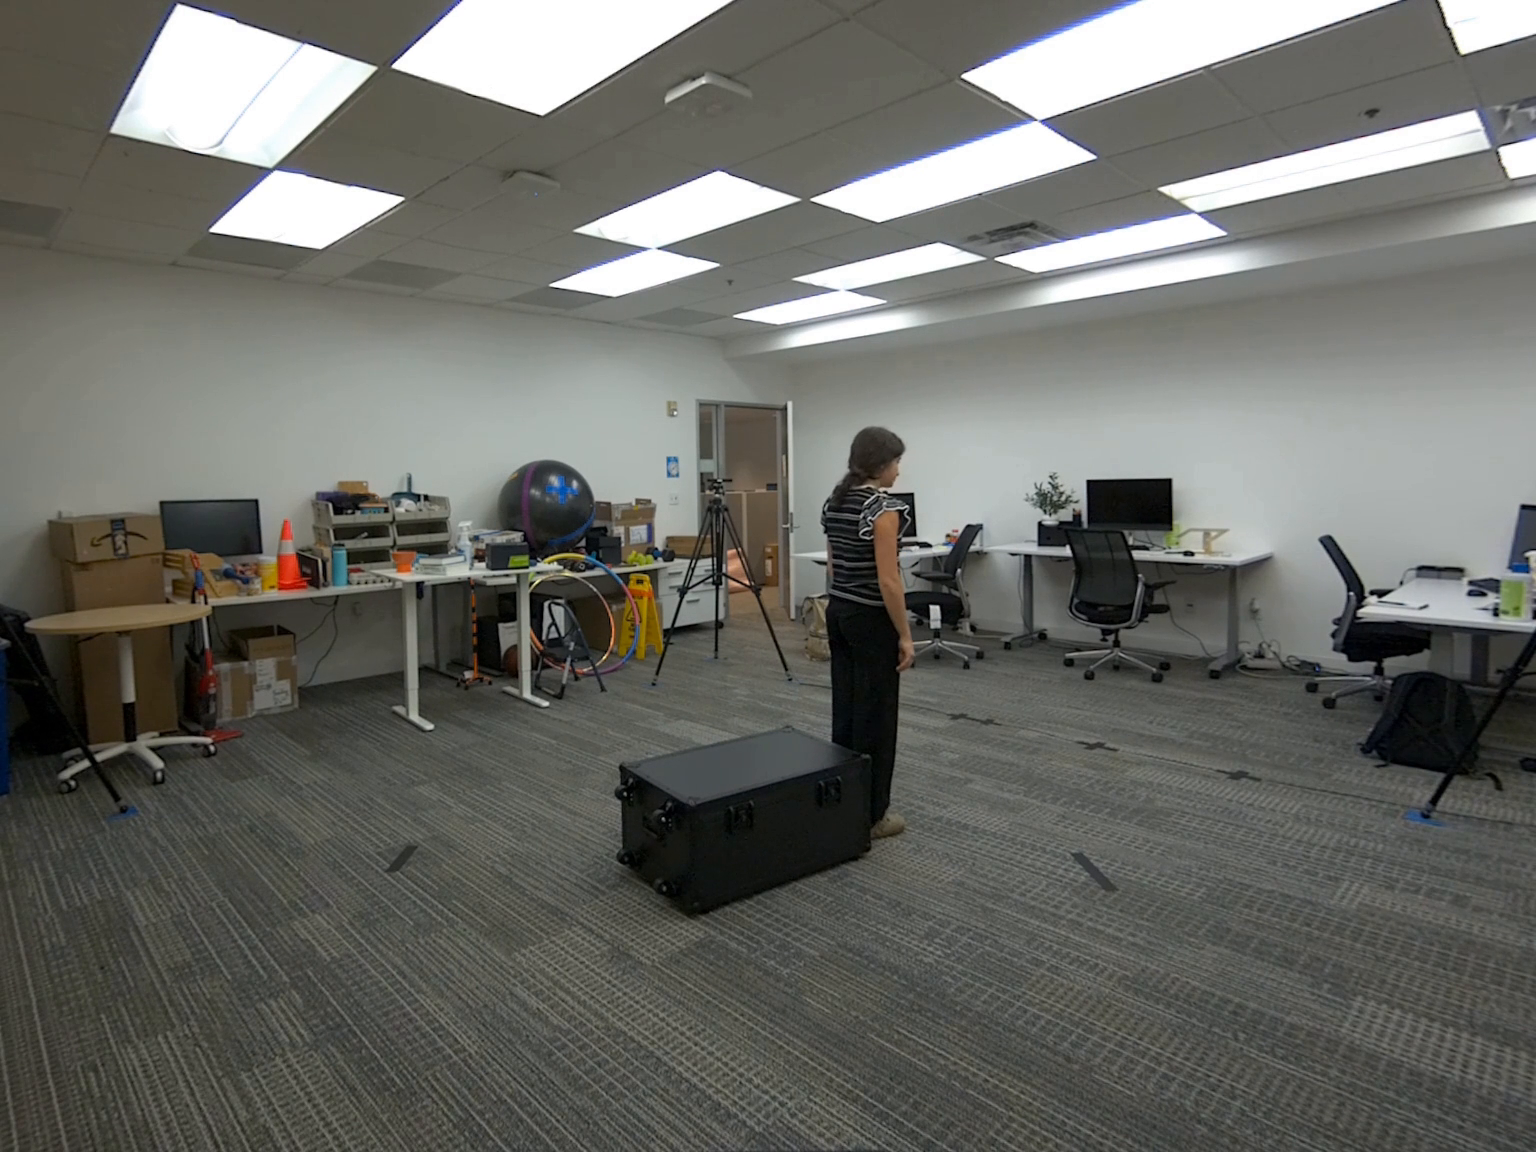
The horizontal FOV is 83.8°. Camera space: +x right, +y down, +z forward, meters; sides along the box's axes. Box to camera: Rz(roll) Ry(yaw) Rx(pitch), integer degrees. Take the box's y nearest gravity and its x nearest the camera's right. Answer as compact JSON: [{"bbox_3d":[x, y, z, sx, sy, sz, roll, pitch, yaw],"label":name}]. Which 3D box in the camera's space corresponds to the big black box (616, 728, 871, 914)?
[{"bbox_3d":[-0.107,0.857,3.095,0.839,0.395,0.537,-4,6,-35],"label":"big black box"}]
